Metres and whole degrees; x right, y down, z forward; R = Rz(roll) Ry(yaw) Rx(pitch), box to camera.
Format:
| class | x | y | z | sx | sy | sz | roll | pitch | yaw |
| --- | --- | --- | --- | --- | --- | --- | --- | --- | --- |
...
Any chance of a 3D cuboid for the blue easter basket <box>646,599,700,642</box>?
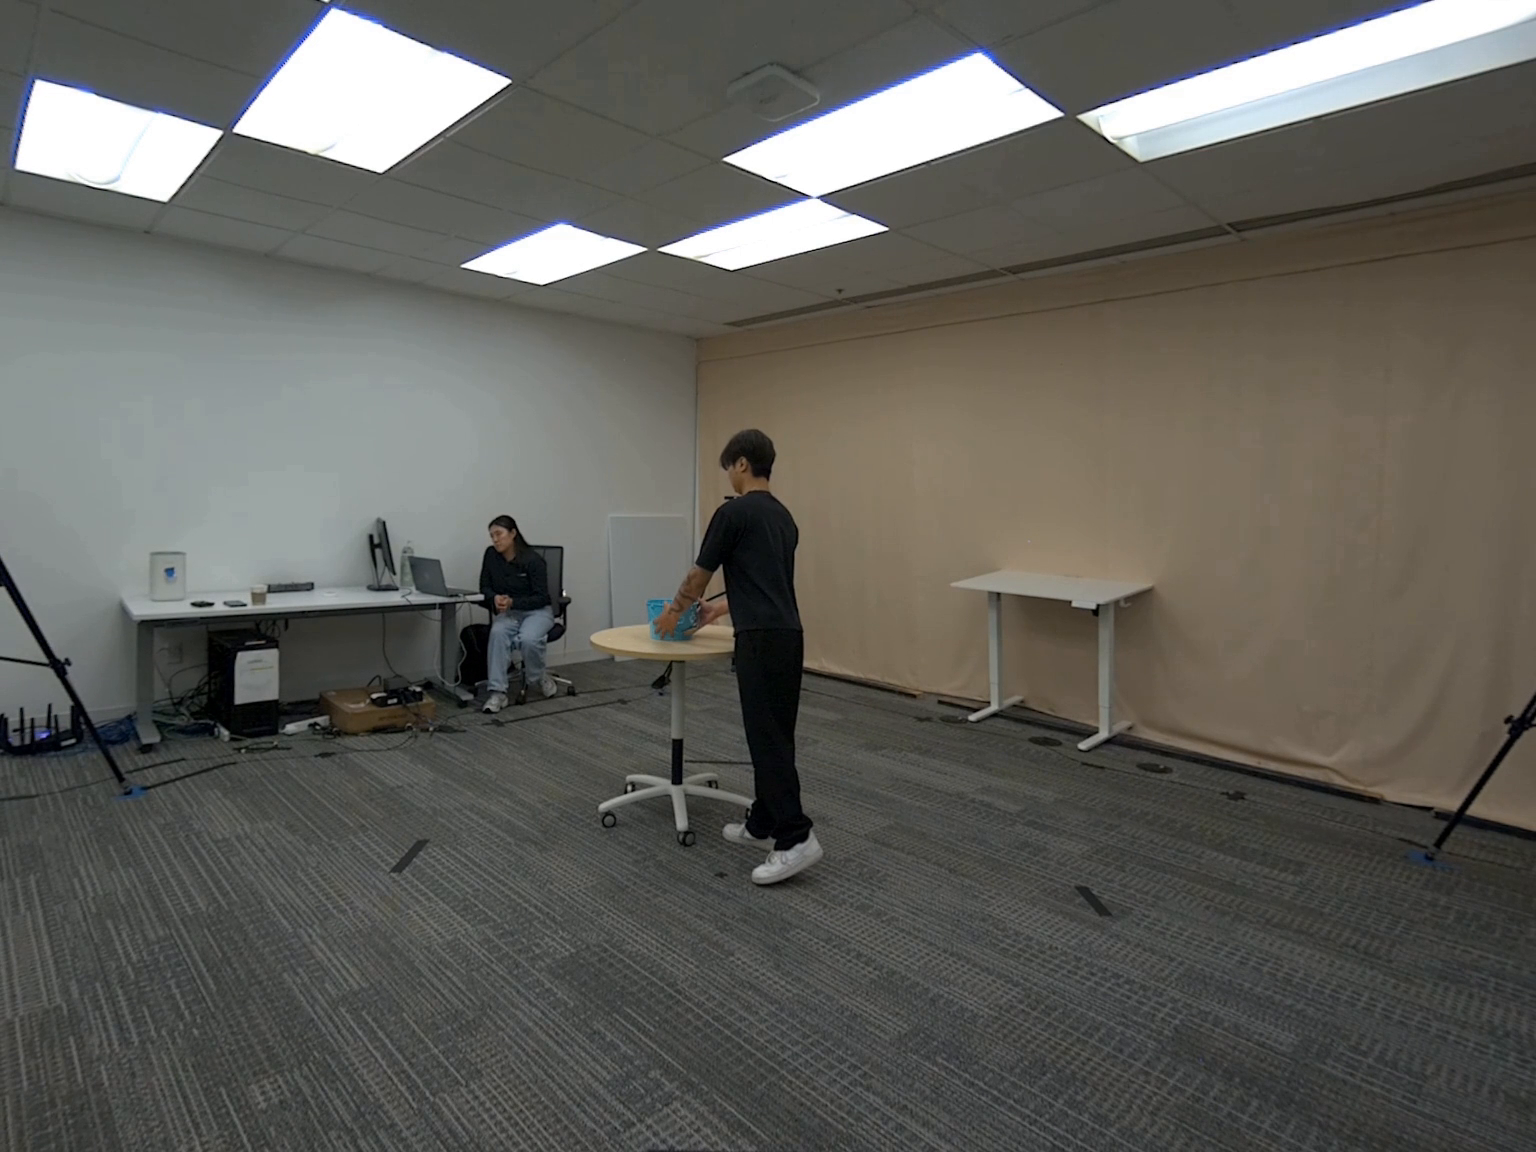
| class | x | y | z | sx | sy | sz | roll | pitch | yaw |
| --- | --- | --- | --- | --- | --- | --- | --- | --- | --- |
| blue easter basket | -0.423 | 0.188 | 3.651 | 0.243 | 0.155 | 0.244 | 1 | 4 | -1 |
